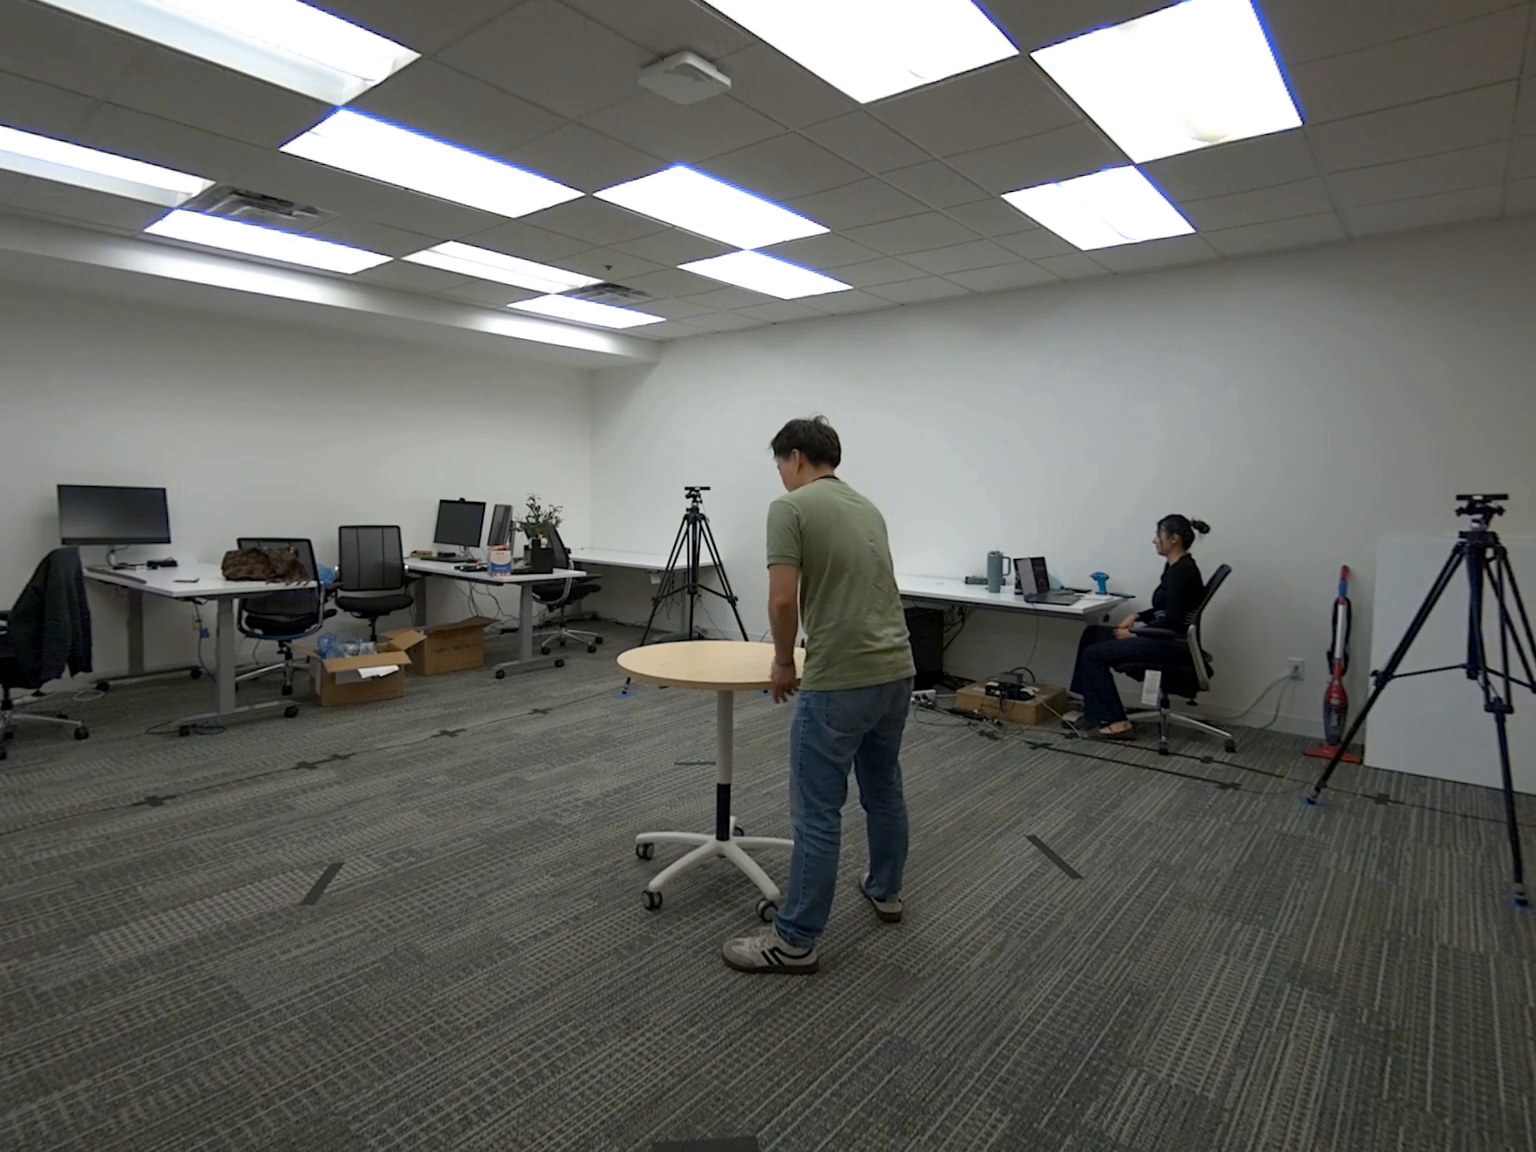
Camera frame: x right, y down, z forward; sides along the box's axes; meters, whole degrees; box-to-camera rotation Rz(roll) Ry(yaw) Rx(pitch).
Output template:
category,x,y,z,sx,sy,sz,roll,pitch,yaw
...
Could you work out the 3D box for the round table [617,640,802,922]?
category,x,y,z,sx,sy,sz,roll,pitch,yaw
round table,-0.168,0.685,3.025,0.763,0.791,0.767,1,4,-2
